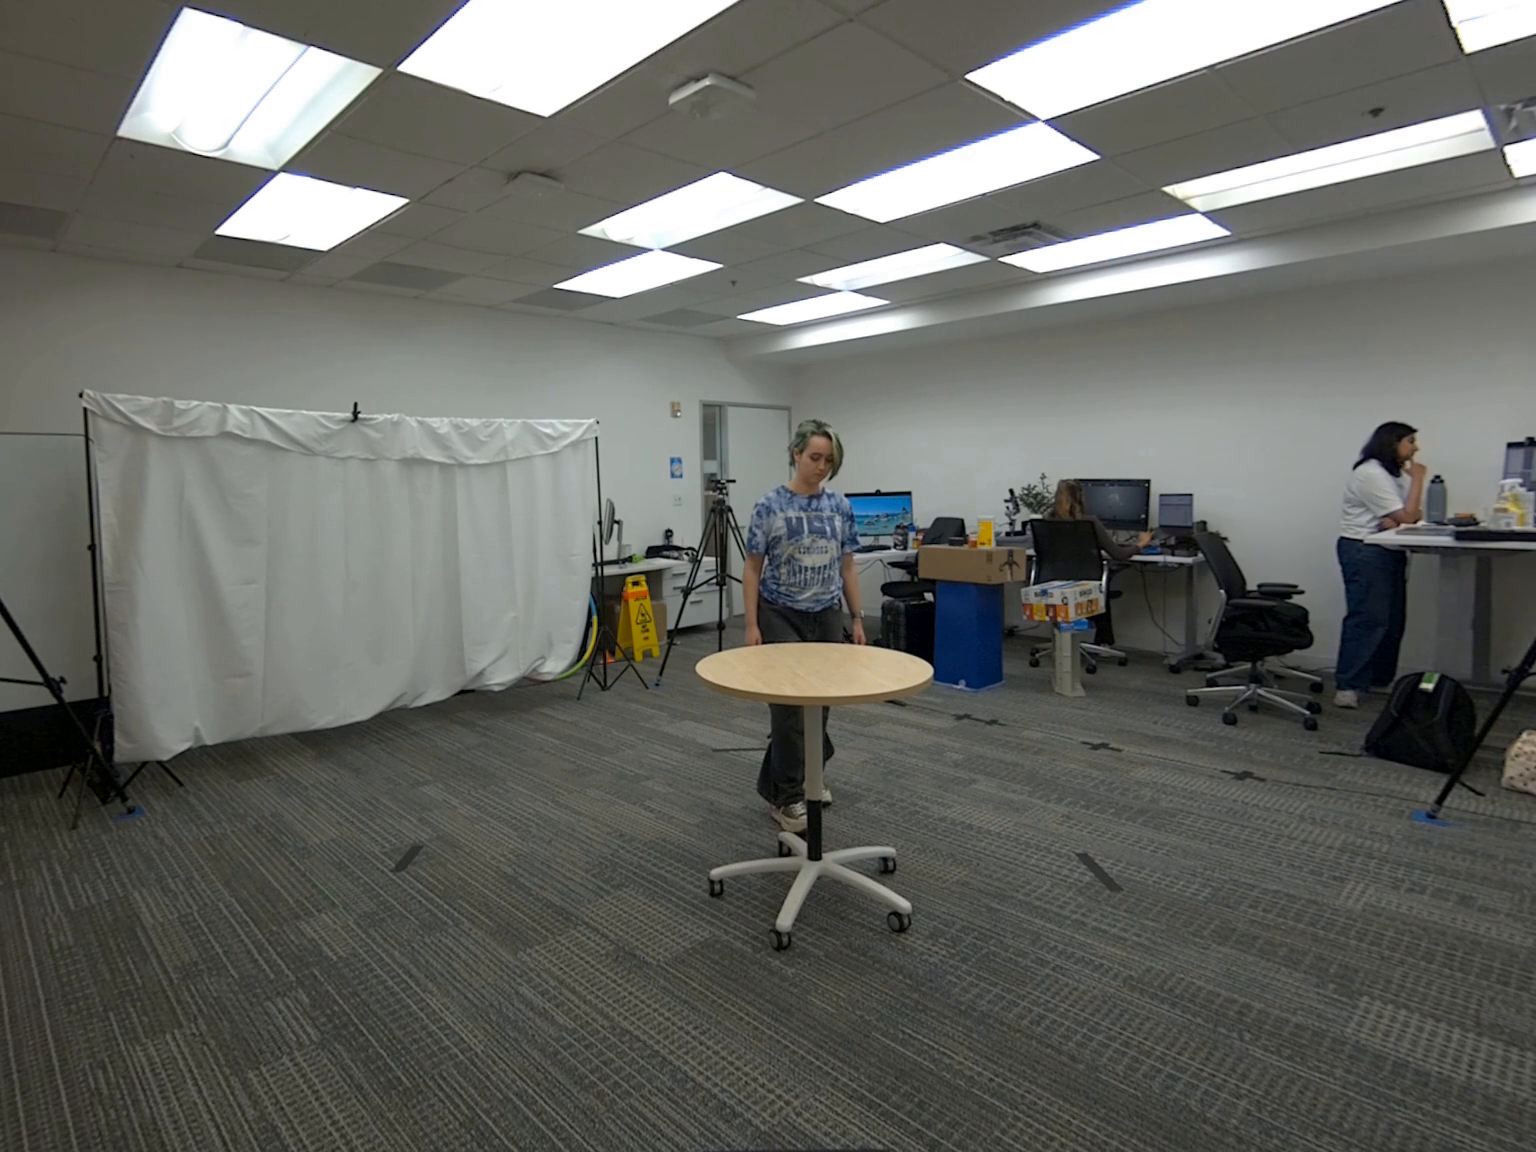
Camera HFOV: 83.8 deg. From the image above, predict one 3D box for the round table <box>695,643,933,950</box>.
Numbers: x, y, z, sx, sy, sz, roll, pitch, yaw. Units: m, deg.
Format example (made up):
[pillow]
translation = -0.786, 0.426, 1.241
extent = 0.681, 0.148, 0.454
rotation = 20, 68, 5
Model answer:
[round table]
translation = 0.152, 0.691, 2.812
extent = 0.763, 0.791, 0.768
rotation = -1, 5, -2
